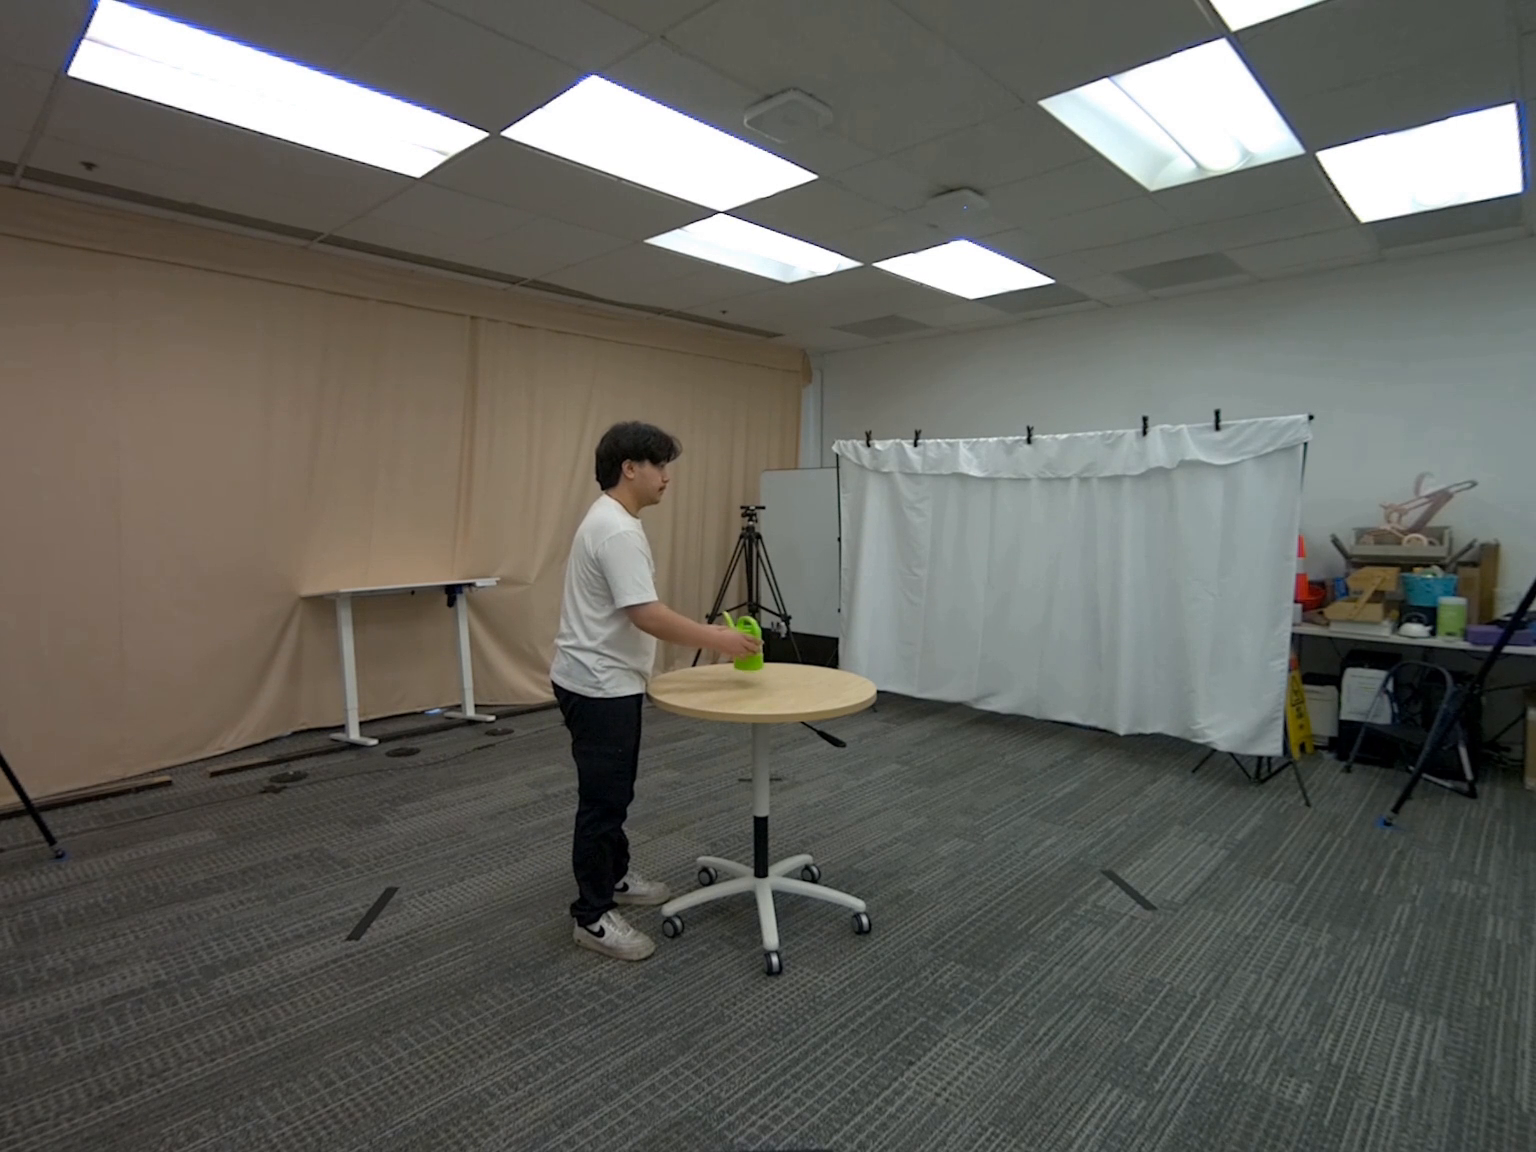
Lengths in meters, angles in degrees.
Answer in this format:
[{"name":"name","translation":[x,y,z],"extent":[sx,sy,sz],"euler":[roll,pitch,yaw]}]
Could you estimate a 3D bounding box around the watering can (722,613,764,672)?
[{"name":"watering can","translation":[-0.083,0.222,2.842],"extent":[0.097,0.176,0.282],"euler":[-1,3,-12]}]
